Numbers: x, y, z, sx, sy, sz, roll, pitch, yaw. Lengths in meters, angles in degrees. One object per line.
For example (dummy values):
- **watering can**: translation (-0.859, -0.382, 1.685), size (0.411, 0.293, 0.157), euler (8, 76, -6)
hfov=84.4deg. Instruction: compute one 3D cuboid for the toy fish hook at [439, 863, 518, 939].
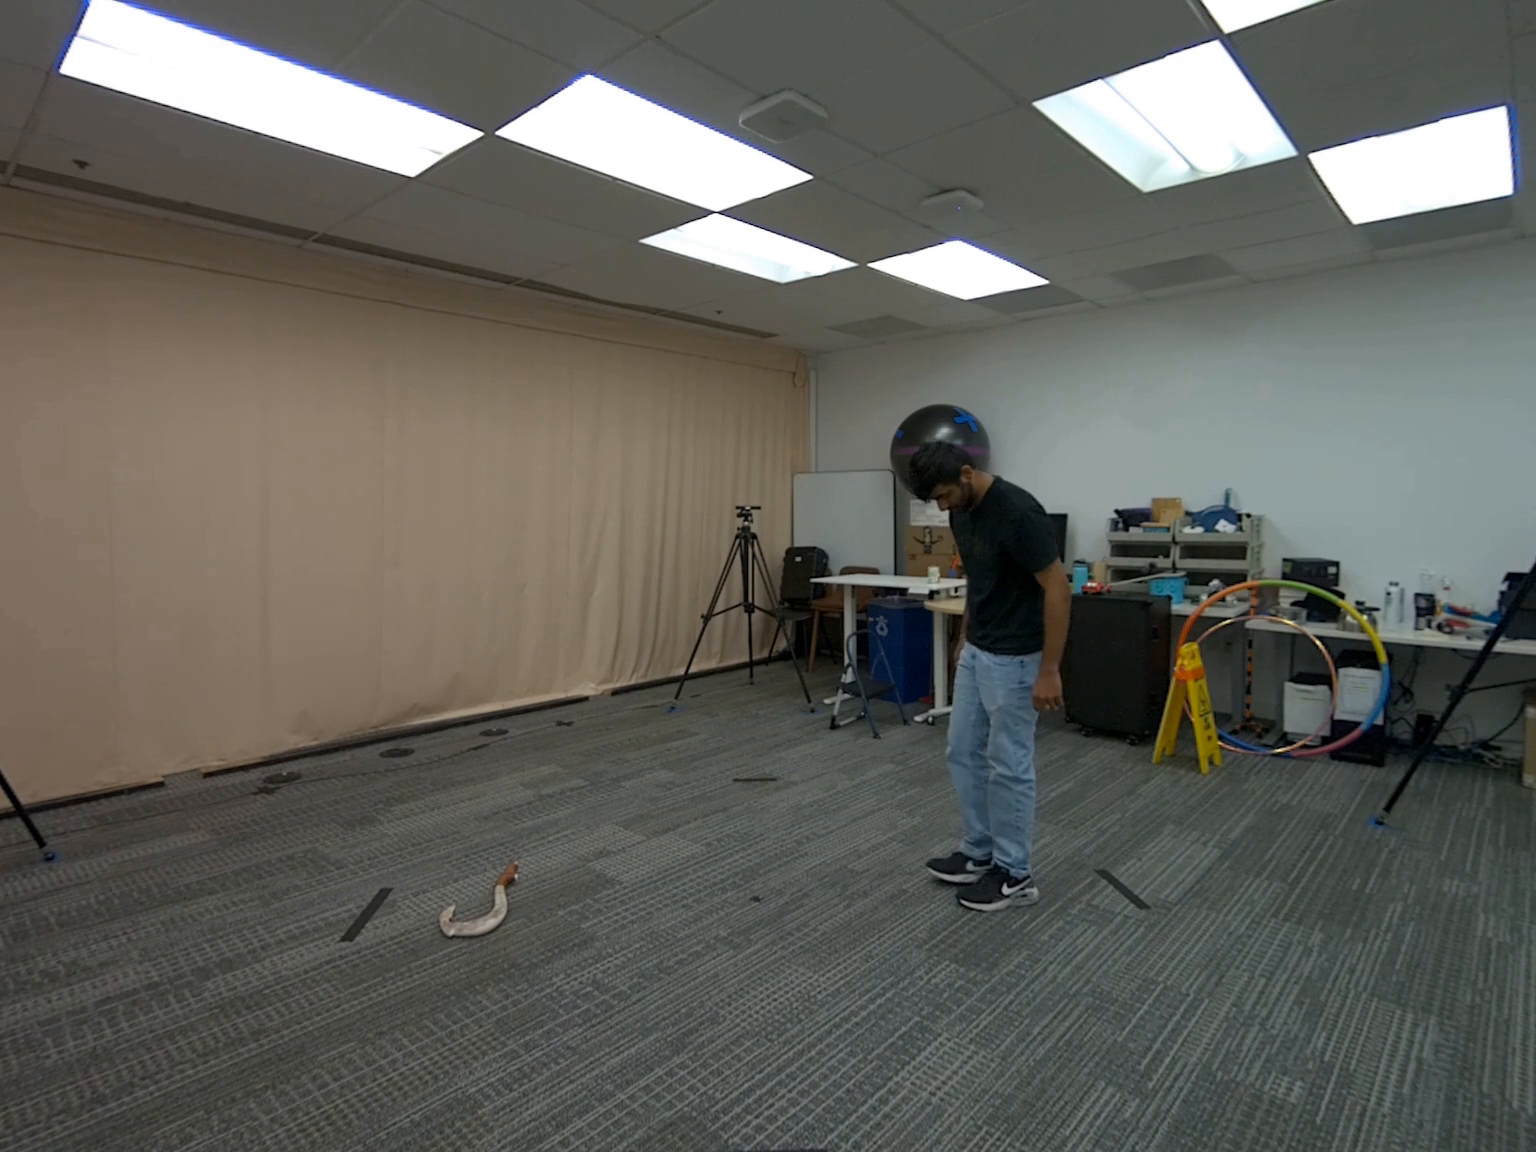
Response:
- **toy fish hook**: translation (-1.007, 1.135, 2.970), size (0.224, 0.048, 0.509), euler (0, 4, -4)
